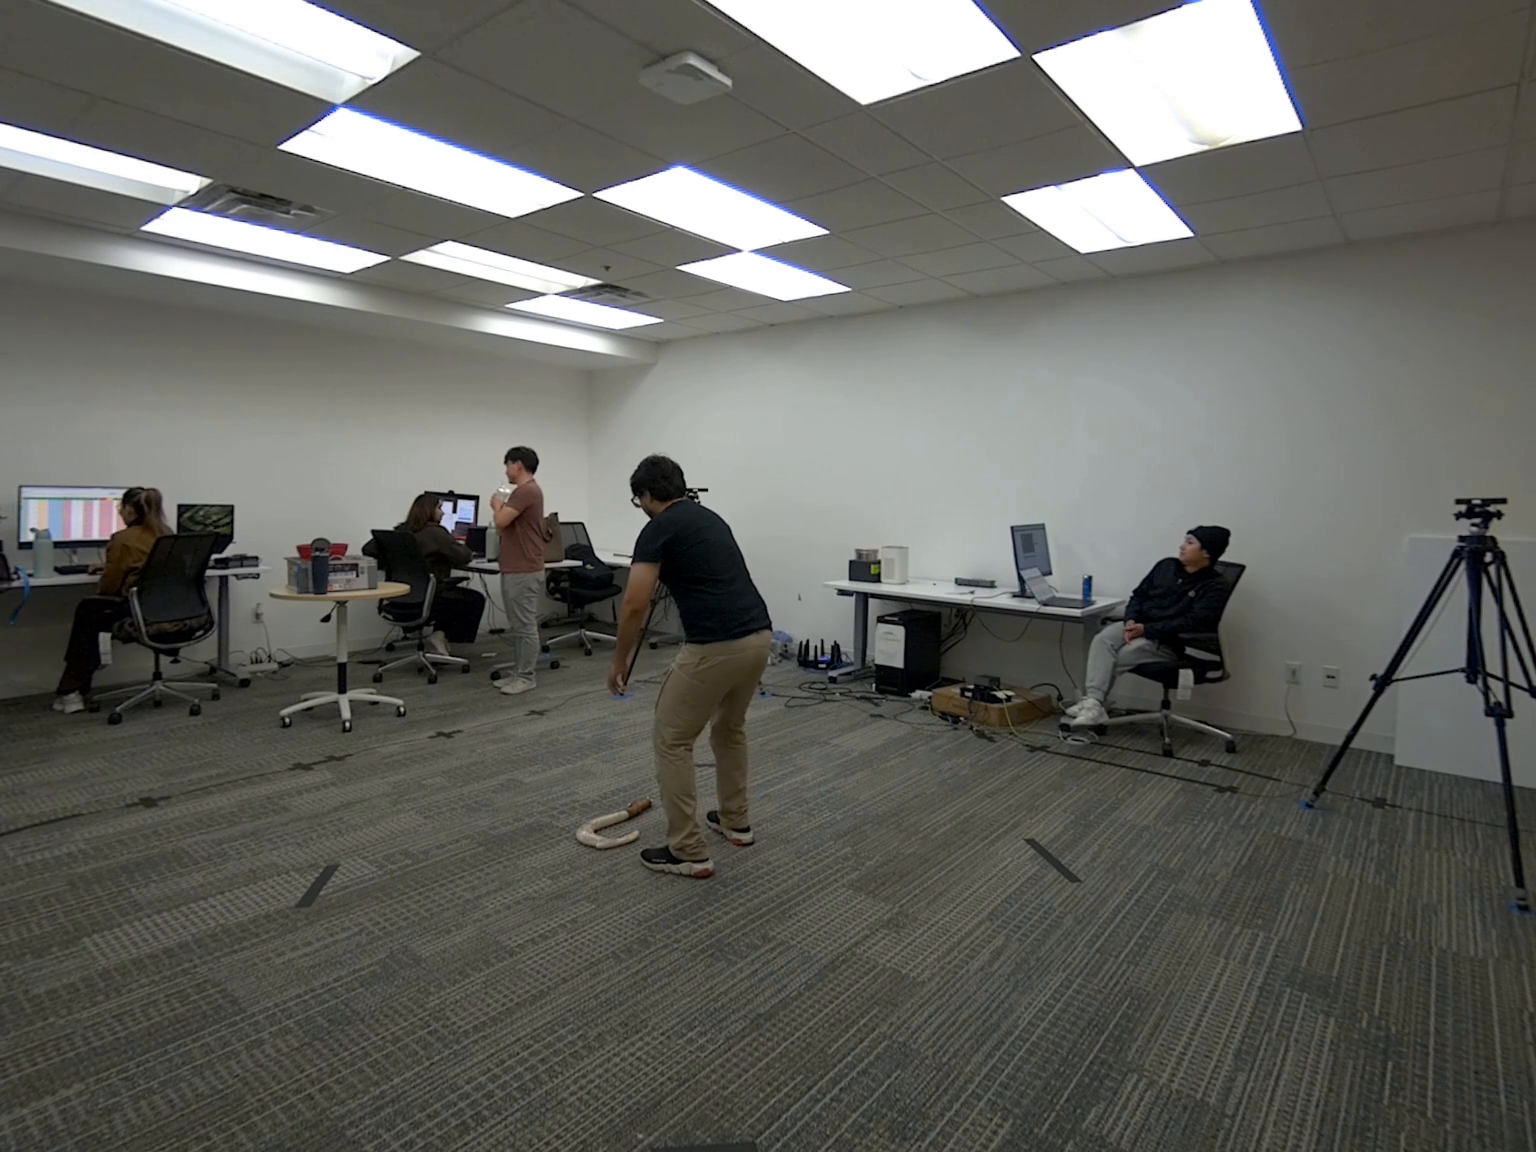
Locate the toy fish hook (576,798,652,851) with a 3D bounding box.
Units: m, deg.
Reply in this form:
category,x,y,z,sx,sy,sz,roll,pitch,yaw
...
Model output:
category,x,y,z,sx,sy,sz,roll,pitch,yaw
toy fish hook,-0.586,1.008,3.497,0.231,0.048,0.495,11,10,25
